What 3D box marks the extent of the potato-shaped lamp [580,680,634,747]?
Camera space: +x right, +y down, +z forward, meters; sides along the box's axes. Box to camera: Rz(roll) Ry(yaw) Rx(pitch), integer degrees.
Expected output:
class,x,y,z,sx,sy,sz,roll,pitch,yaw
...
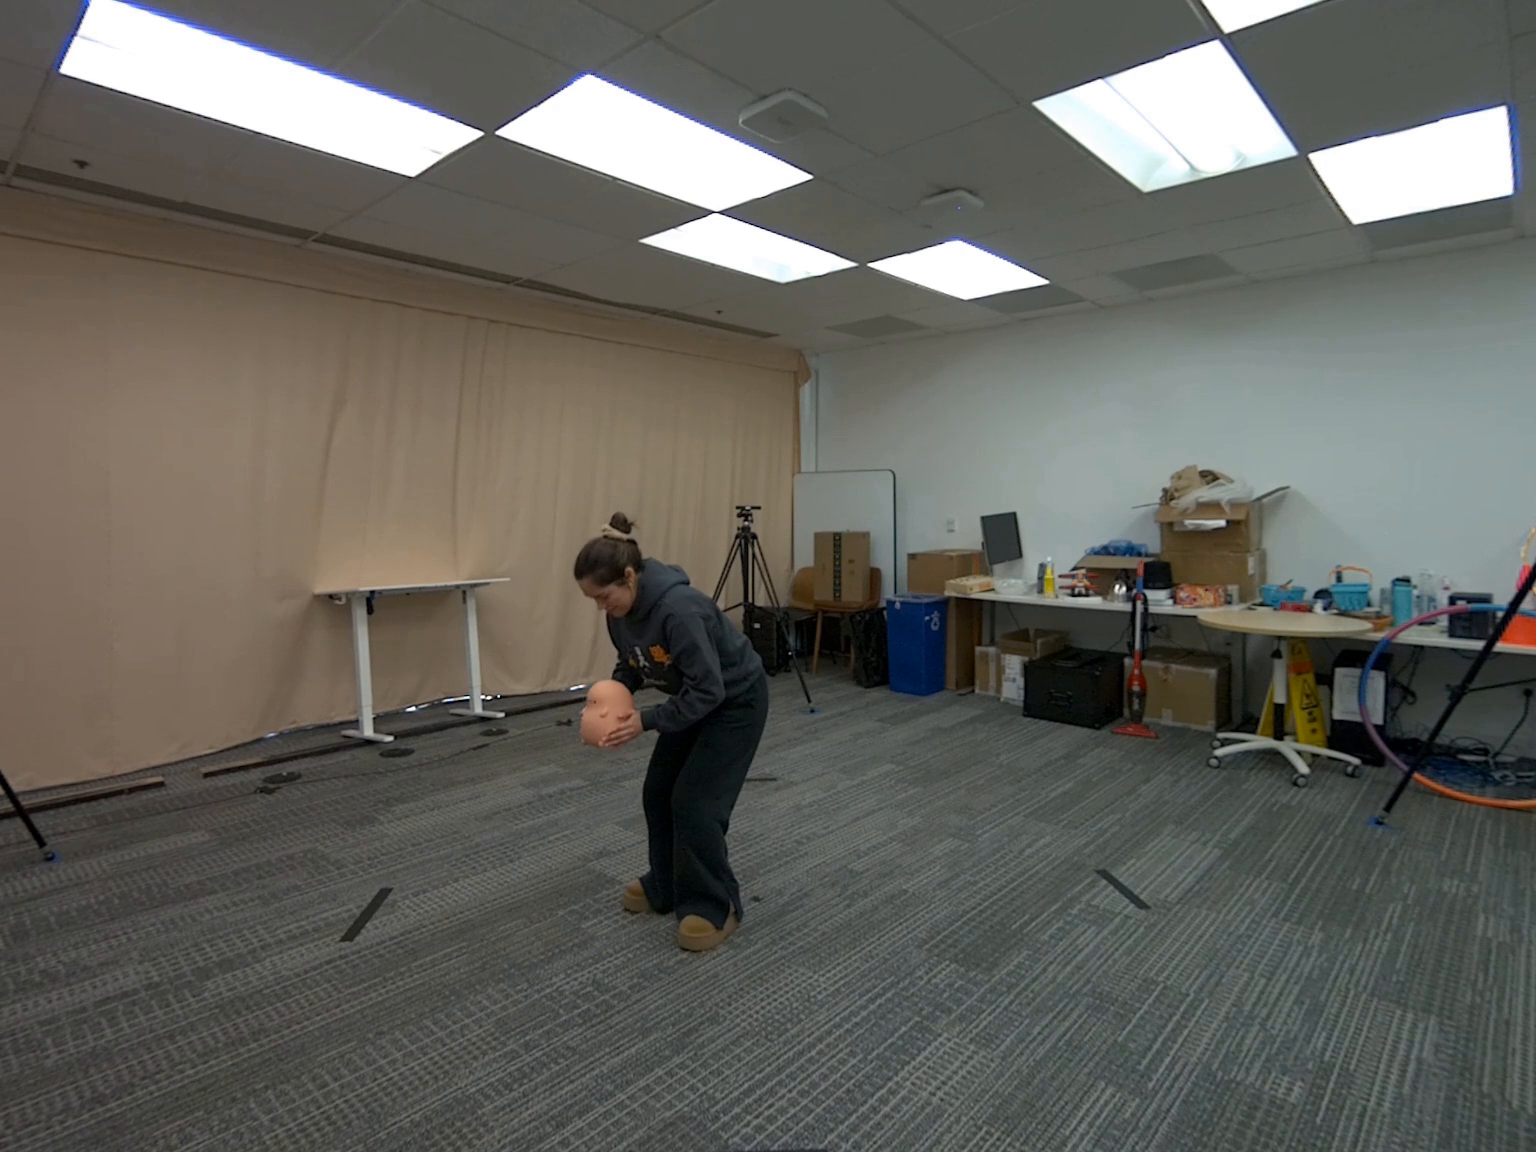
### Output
class,x,y,z,sx,sy,sz,roll,pitch,yaw
potato-shaped lamp,-0.484,0.435,2.615,0.166,0.198,0.170,-5,0,-42
